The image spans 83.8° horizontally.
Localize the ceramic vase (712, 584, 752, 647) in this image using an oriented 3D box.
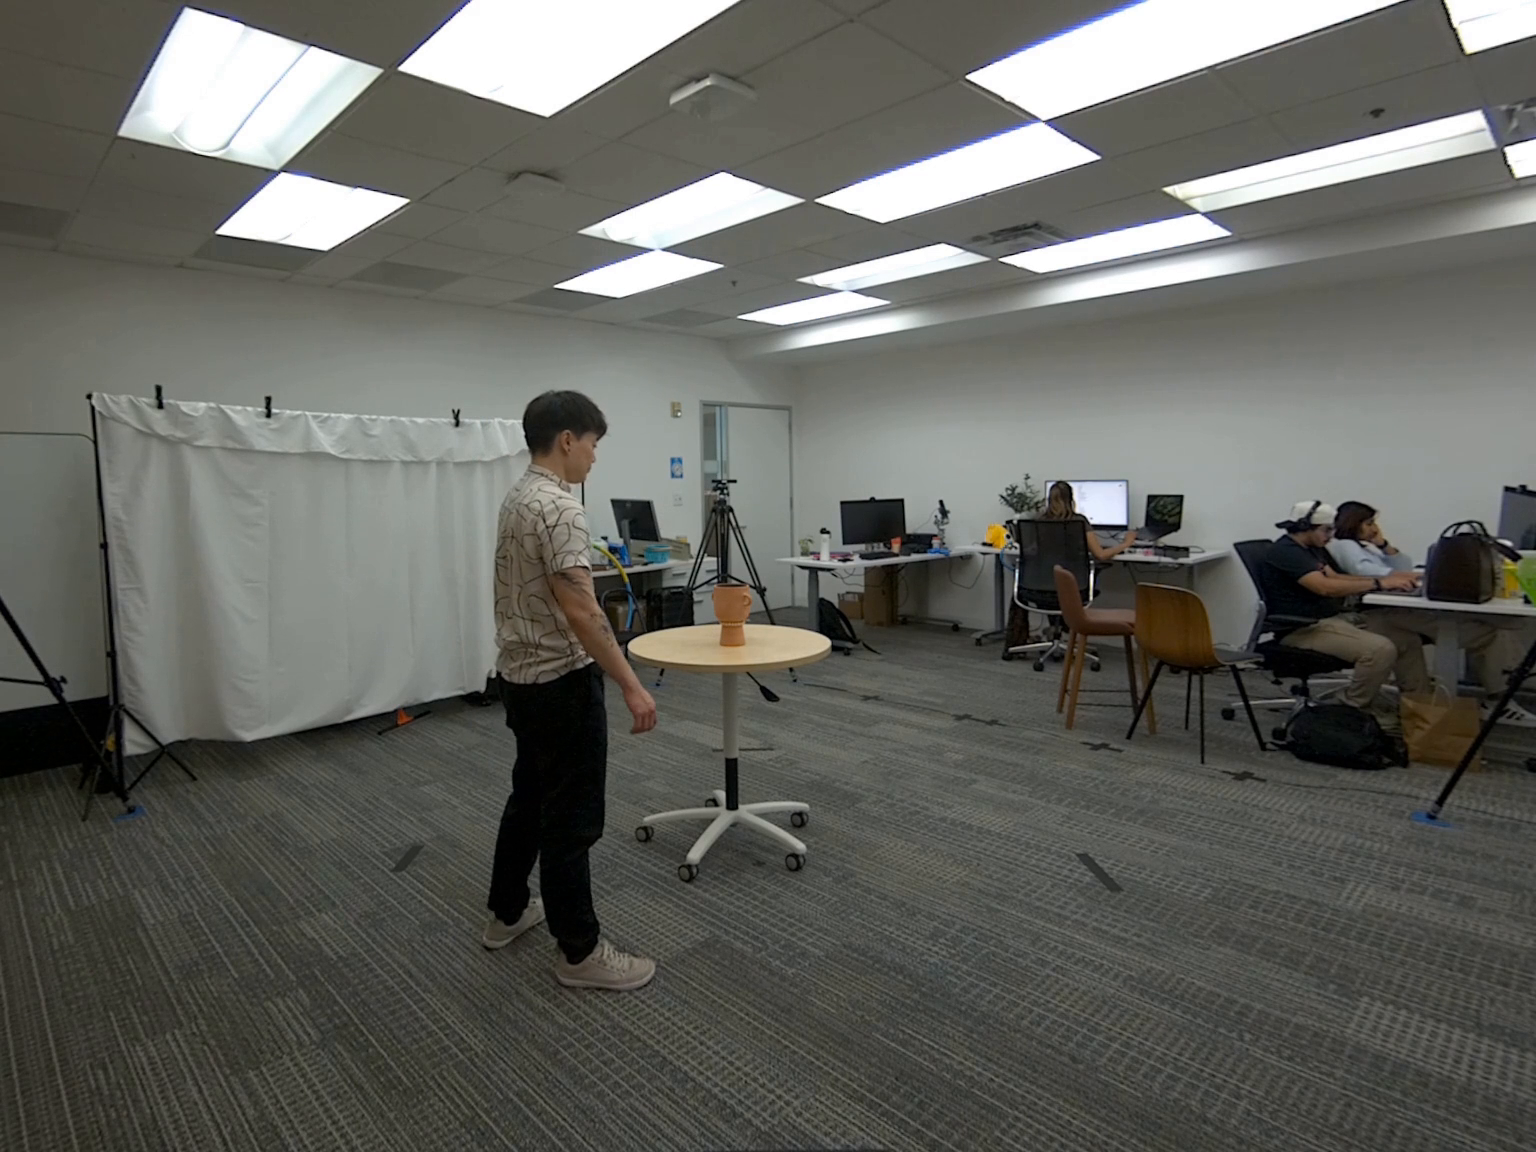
[{"bbox_3d":[-0.133,0.147,3.191,0.133,0.219,0.160,-3,4,-9],"label":"ceramic vase"}]
